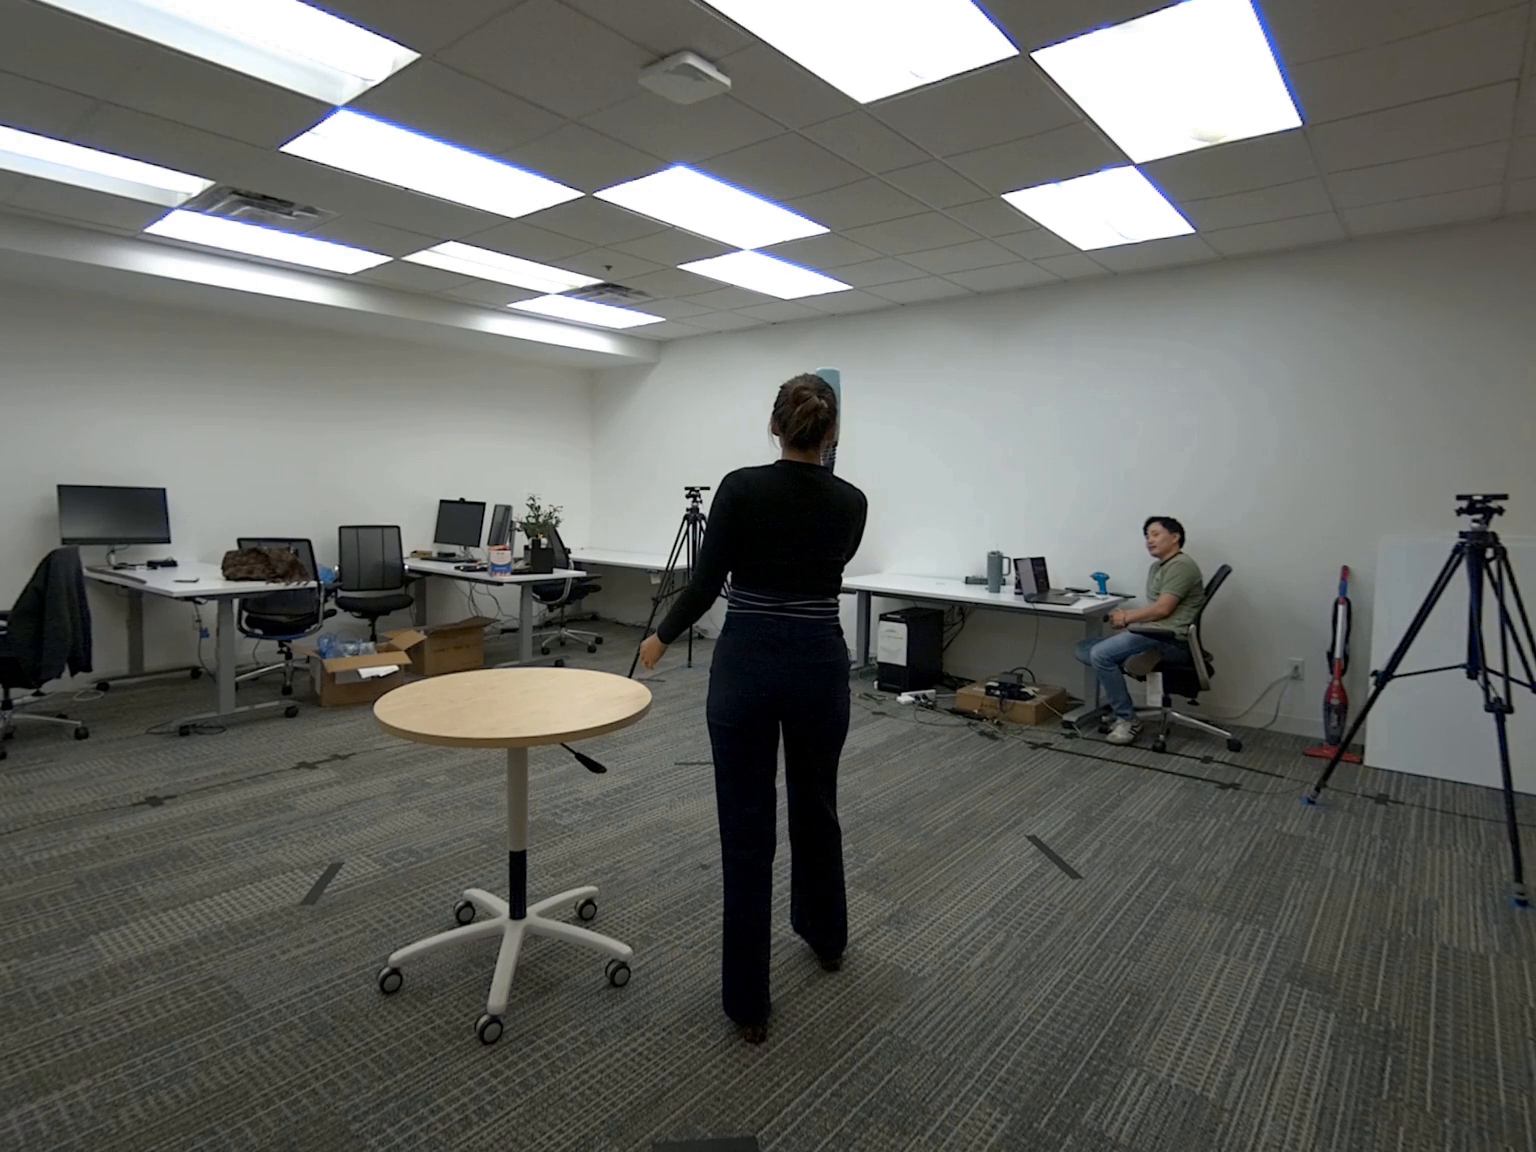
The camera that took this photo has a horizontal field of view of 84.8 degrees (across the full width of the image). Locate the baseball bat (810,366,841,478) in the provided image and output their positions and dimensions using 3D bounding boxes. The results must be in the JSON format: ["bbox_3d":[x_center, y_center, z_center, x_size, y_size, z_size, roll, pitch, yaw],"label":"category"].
[{"bbox_3d":[0.197,-0.439,2.886,0.089,0.542,0.089,-1,1,-2],"label":"baseball bat"}]
